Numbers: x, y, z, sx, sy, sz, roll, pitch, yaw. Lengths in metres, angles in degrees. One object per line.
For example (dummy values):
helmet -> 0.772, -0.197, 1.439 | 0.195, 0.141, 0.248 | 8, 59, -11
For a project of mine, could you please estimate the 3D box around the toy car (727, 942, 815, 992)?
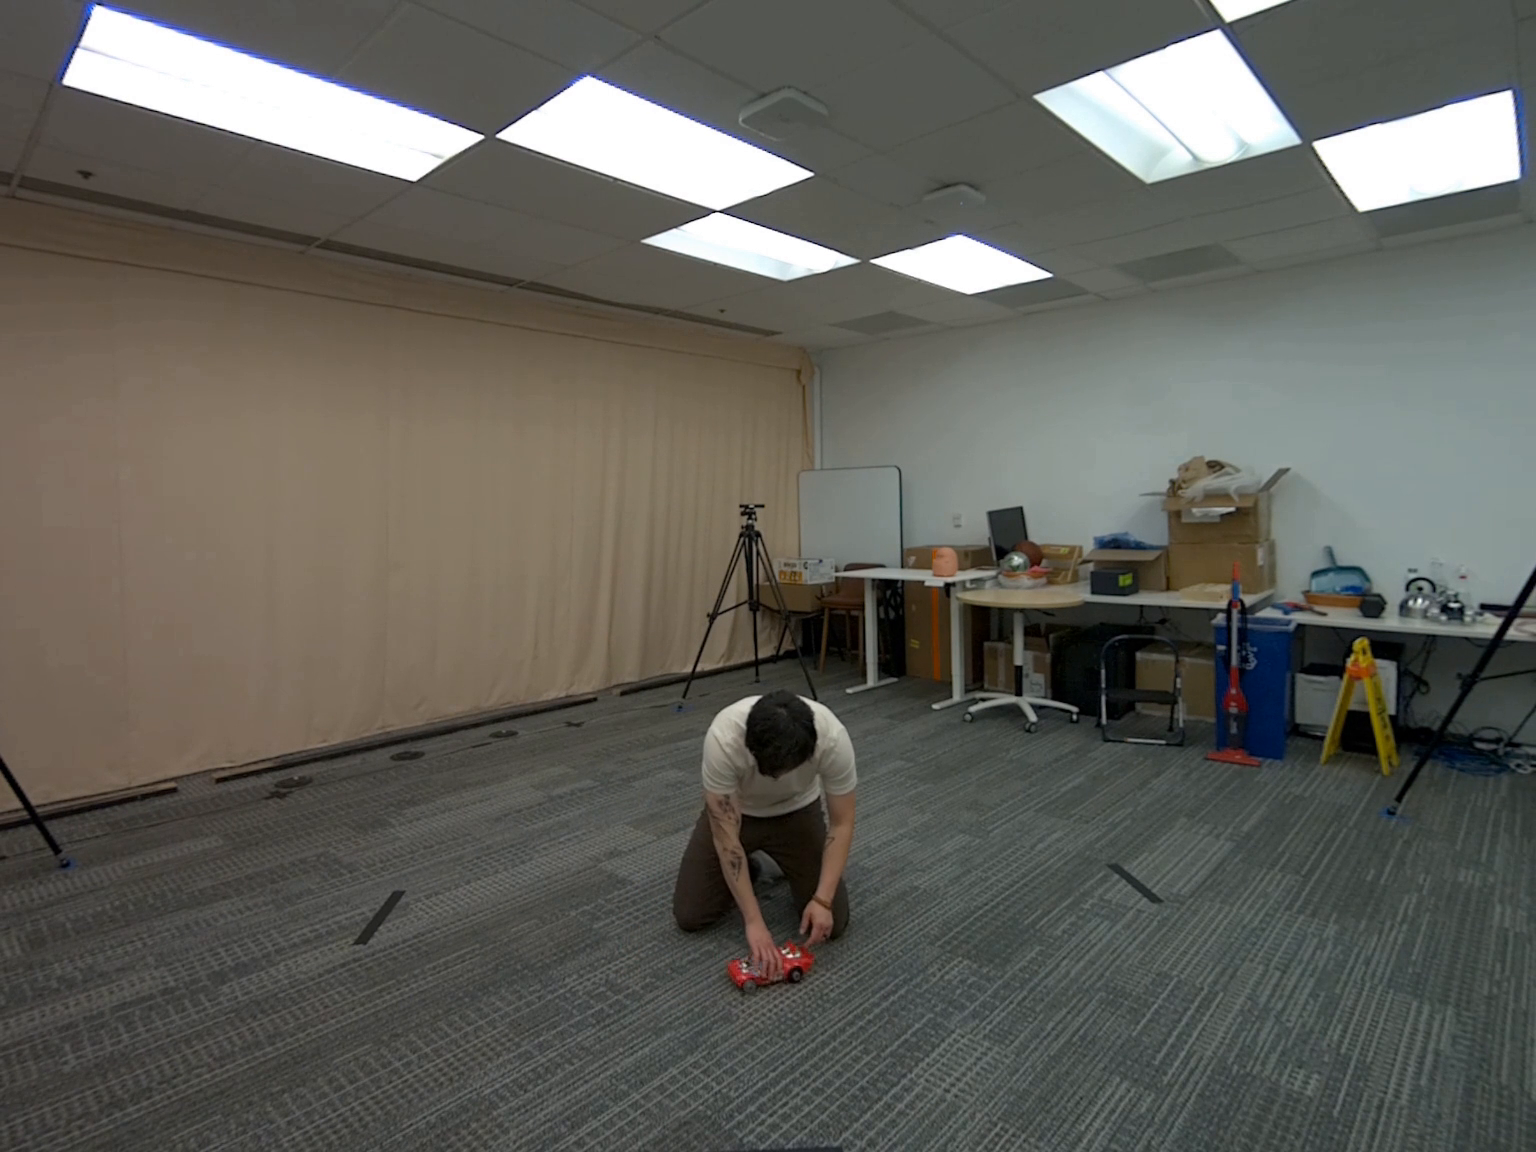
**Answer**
toy car -> 0.018, 1.155, 2.482 | 0.250, 0.082, 0.133 | -15, 11, -20
